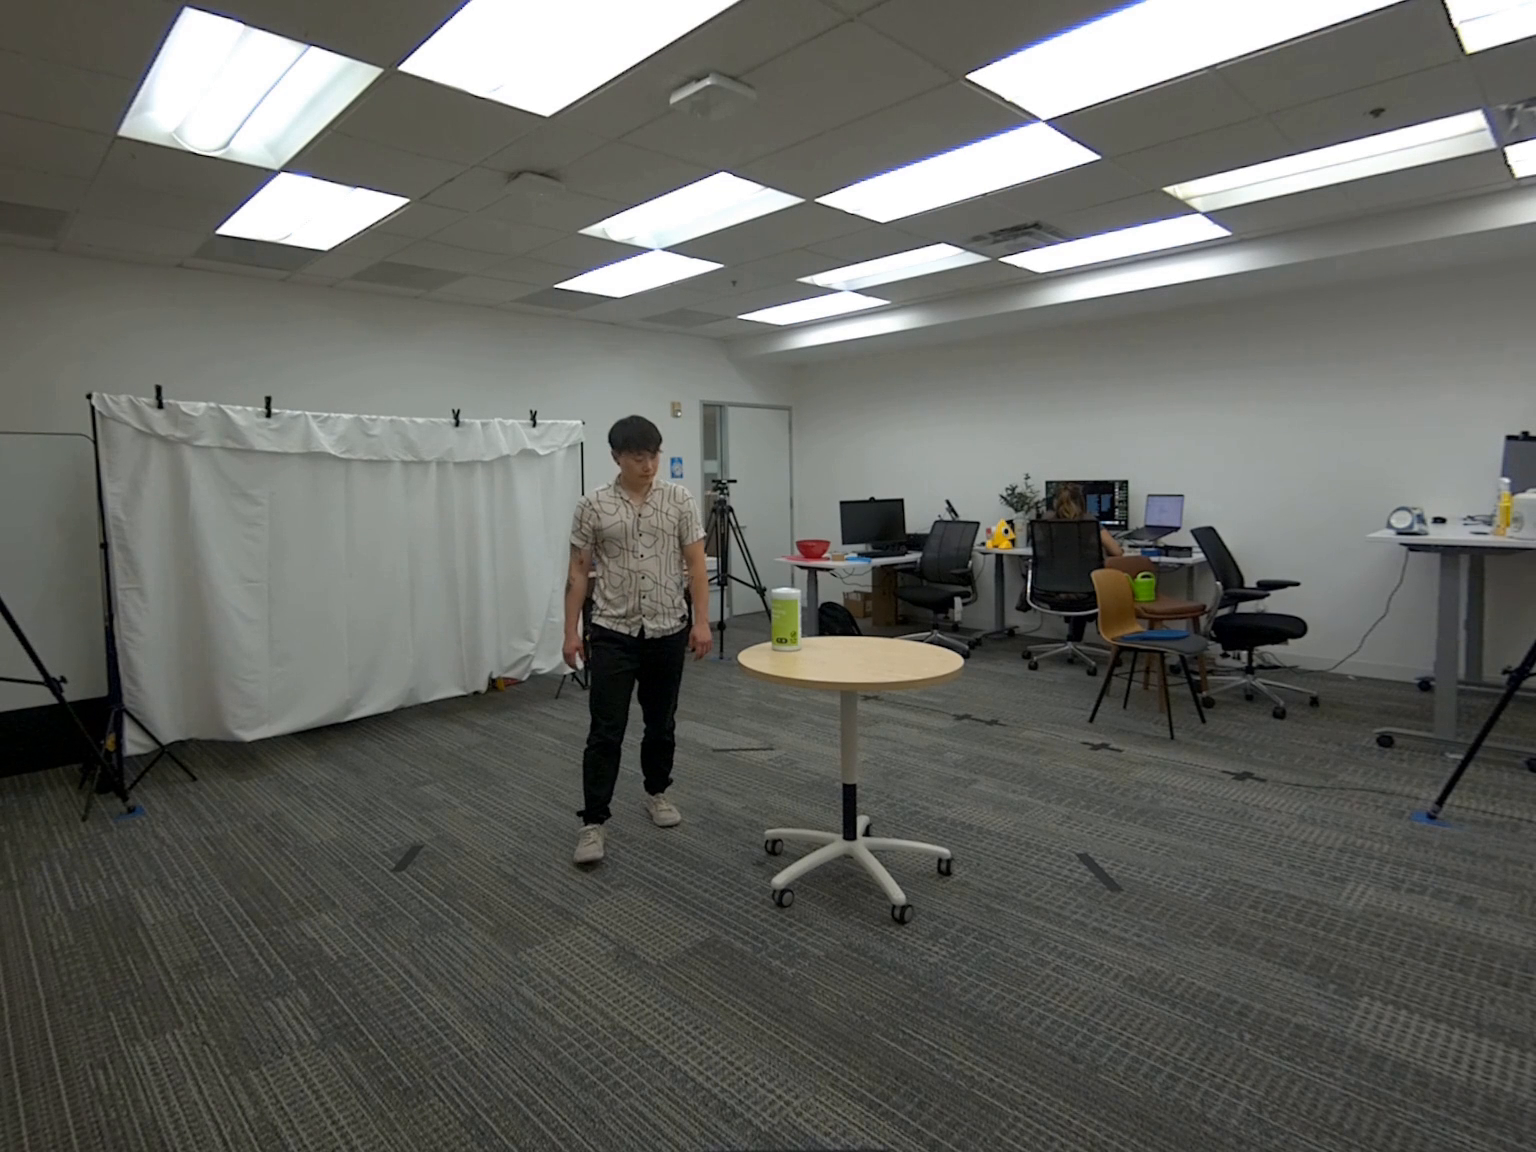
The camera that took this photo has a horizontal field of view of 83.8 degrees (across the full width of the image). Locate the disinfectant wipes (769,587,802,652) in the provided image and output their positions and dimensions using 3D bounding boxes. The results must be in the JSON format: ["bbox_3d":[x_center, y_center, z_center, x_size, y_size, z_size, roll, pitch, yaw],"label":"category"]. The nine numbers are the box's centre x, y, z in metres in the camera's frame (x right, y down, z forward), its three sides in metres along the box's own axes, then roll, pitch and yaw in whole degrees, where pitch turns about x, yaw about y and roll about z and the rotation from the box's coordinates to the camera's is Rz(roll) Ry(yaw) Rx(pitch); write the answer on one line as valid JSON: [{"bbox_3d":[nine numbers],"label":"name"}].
[{"bbox_3d":[0.068,0.157,3.085,0.118,0.217,0.118,-2,4,-1],"label":"disinfectant wipes"}]
